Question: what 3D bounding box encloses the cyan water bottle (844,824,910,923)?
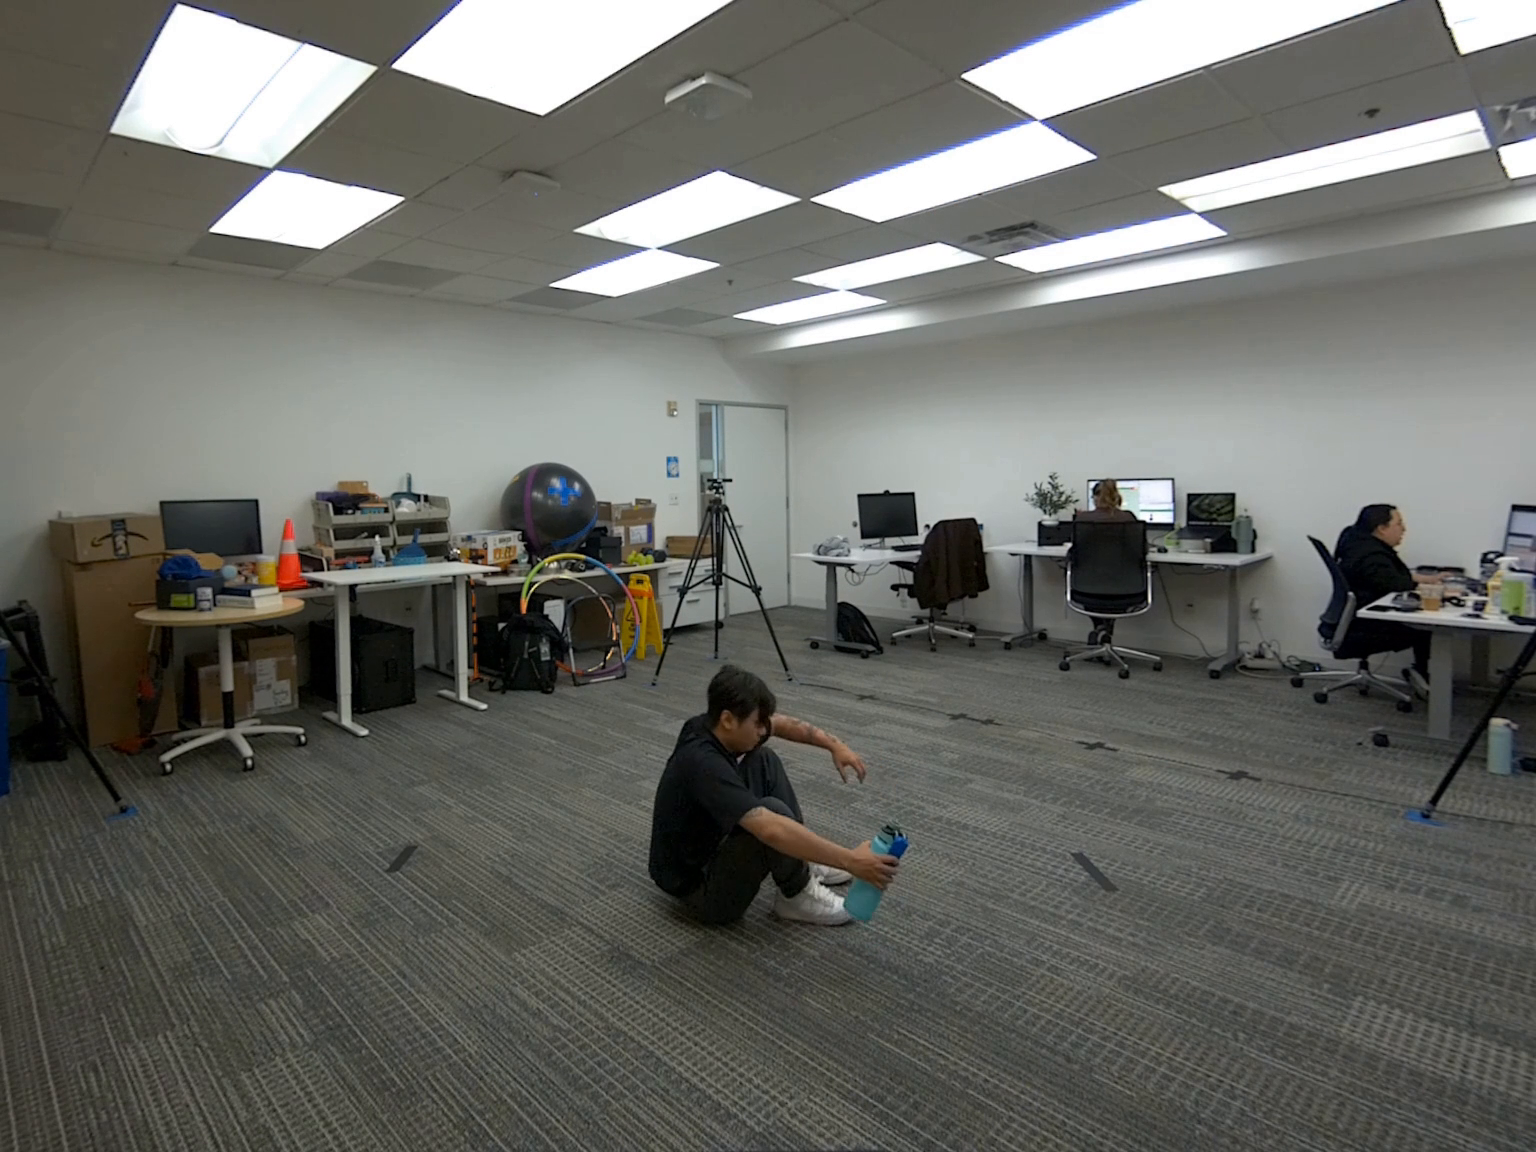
[{"bbox_3d":[0.317,0.844,2.439,0.092,0.283,0.093,23,3,-3],"label":"cyan water bottle"}]
